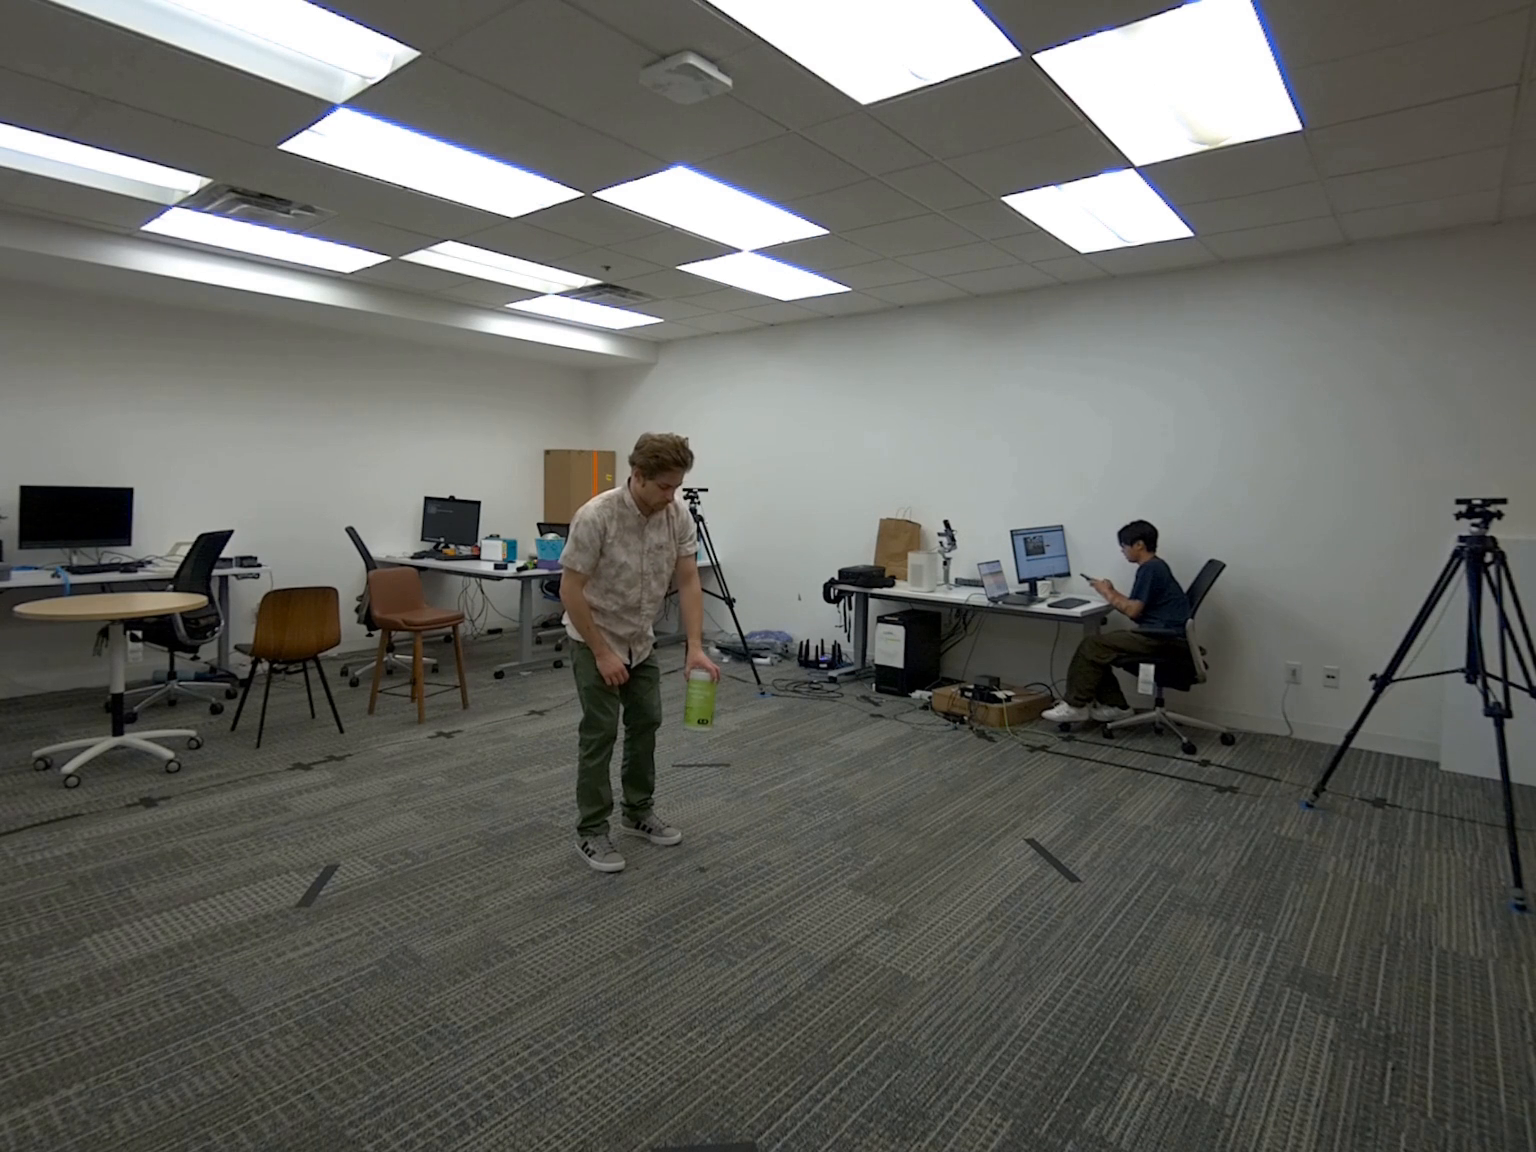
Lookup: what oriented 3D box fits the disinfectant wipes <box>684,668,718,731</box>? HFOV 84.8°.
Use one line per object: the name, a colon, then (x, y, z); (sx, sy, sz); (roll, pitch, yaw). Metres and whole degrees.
disinfectant wipes: (-0.258, 0.459, 3.121); (0.118, 0.218, 0.118); (4, -1, -2)
